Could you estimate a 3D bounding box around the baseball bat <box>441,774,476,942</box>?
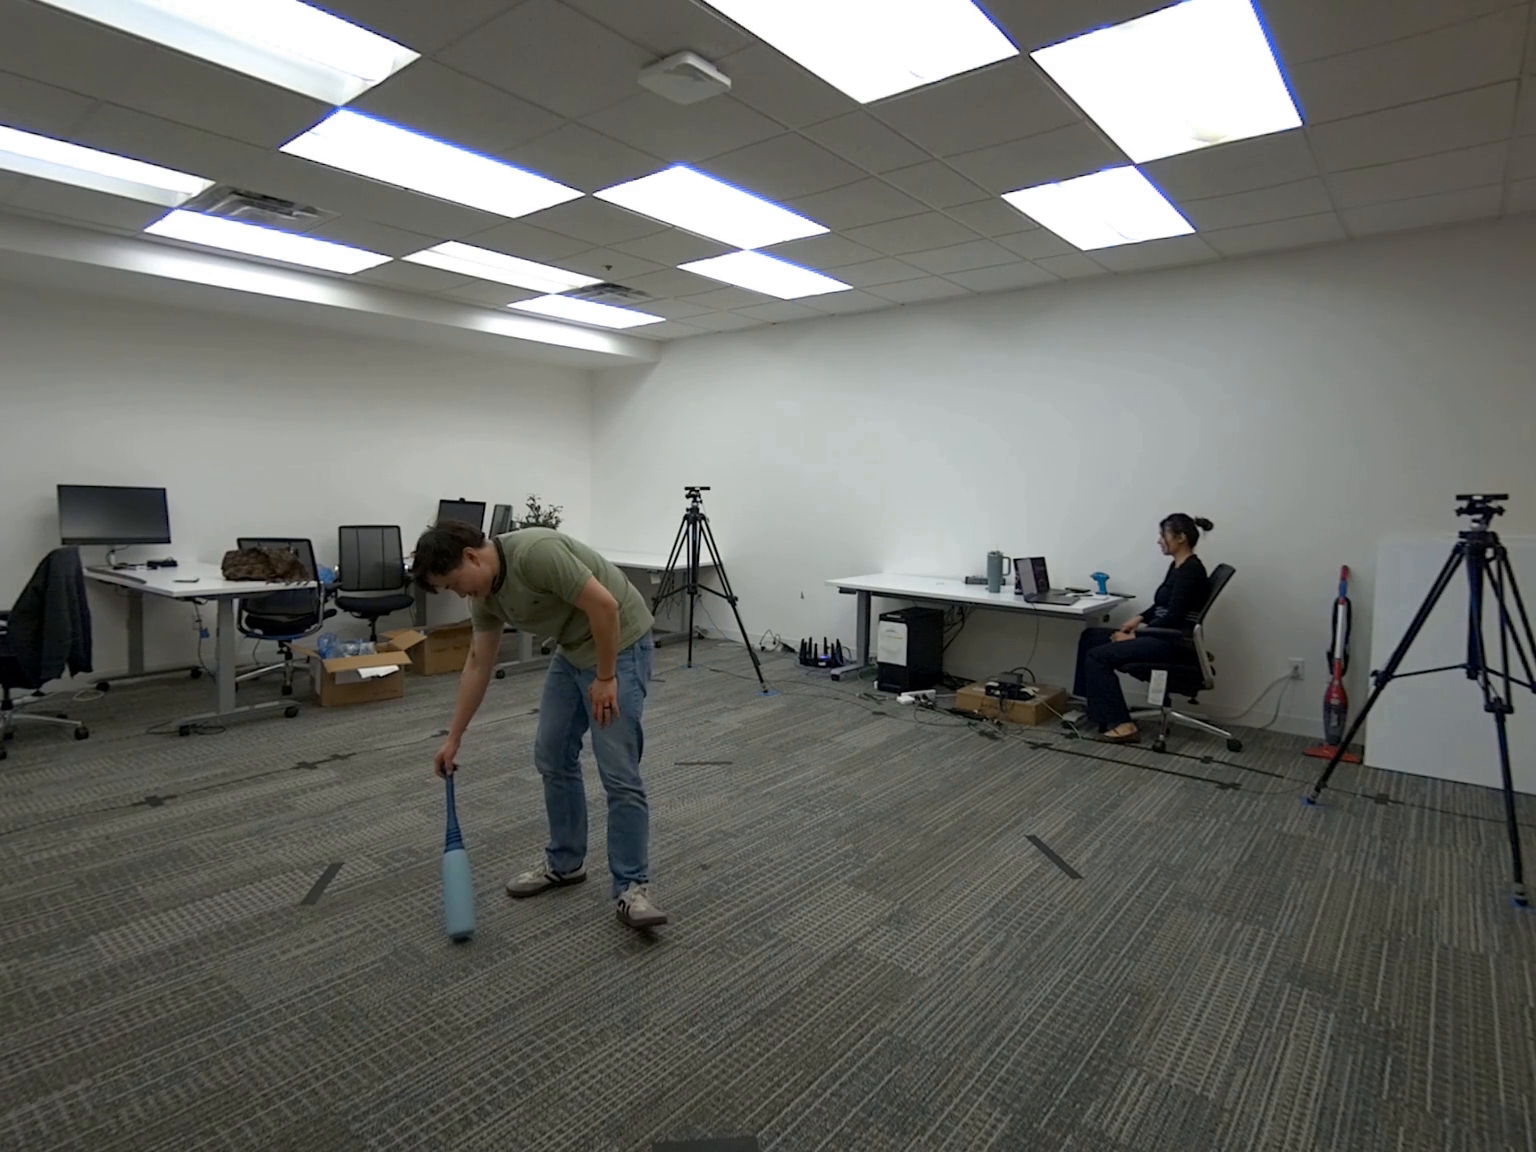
[{"bbox_3d":[-1.010,0.867,2.721,0.088,0.561,0.087,-13,-31,-9],"label":"baseball bat"}]
